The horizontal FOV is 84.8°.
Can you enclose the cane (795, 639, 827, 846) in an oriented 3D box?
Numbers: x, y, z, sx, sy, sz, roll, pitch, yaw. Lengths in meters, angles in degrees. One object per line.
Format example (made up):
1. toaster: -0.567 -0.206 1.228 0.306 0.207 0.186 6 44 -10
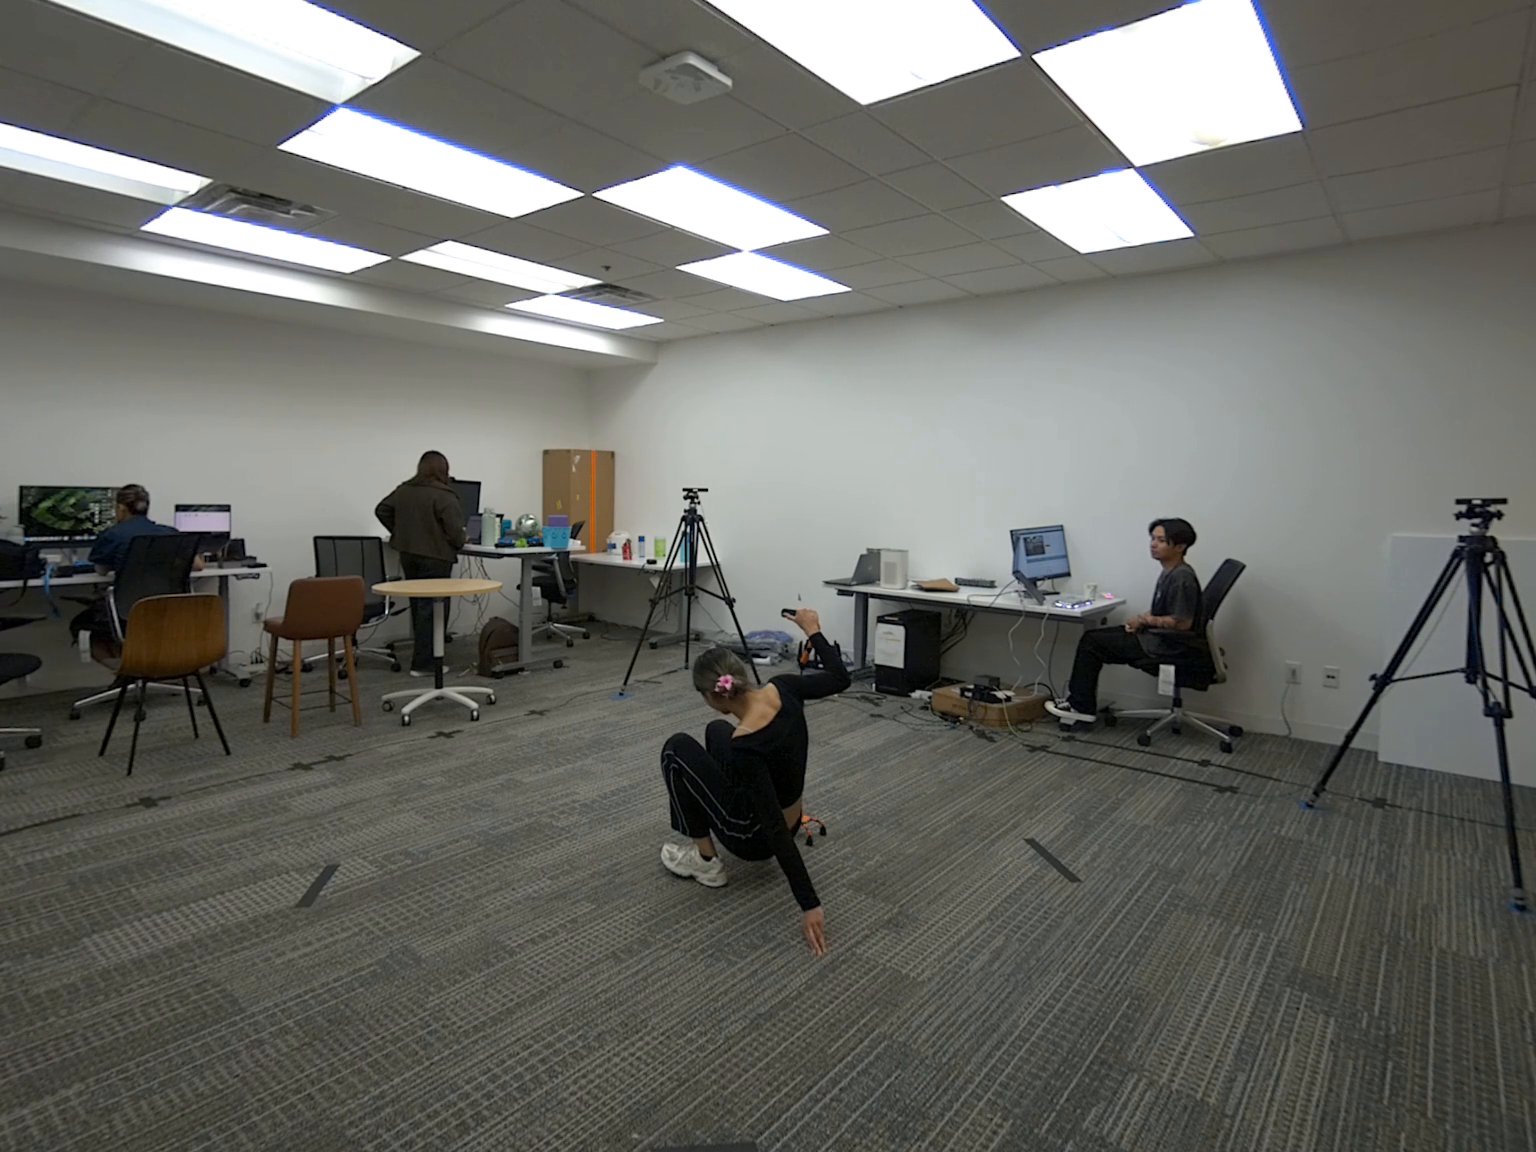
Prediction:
1. cane: 0.120 0.586 3.399 0.213 0.903 0.148 5 7 32
